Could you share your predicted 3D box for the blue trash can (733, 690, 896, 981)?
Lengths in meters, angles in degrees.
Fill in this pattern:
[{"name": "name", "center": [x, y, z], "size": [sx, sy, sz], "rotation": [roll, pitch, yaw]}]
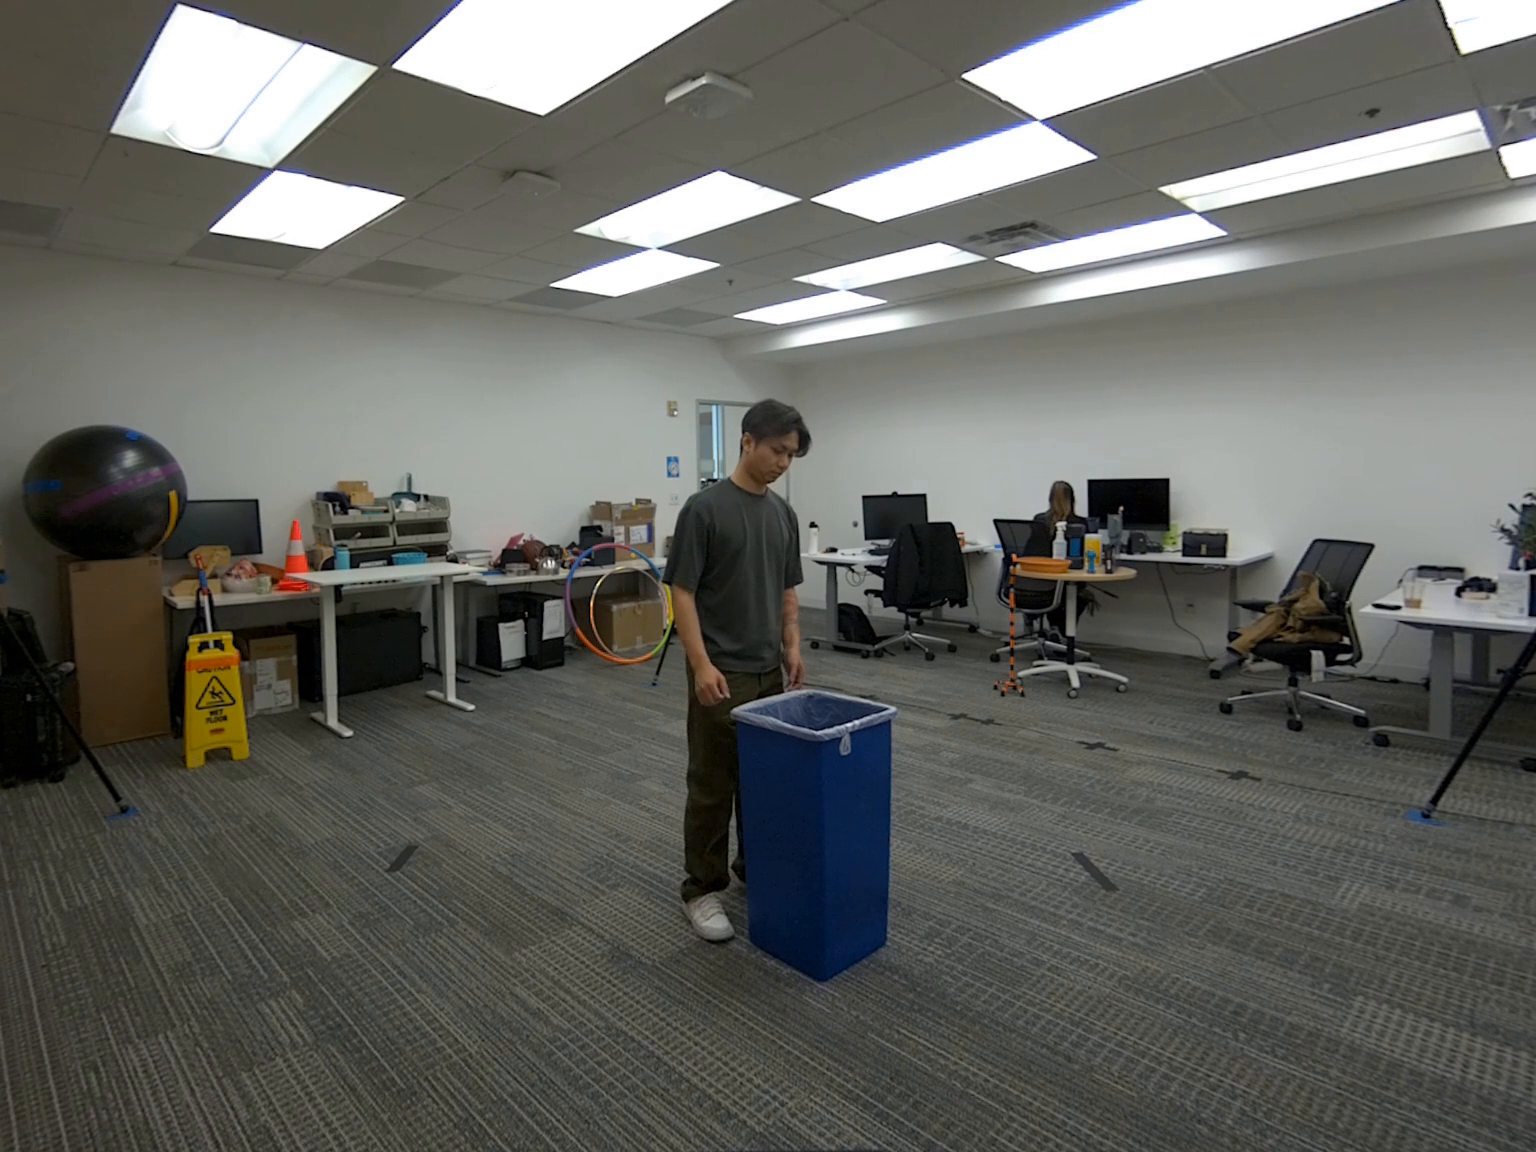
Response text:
[{"name": "blue trash can", "center": [0.143, 0.750, 2.548], "size": [0.368, 0.711, 0.386], "rotation": [-5, 6, -44]}]
